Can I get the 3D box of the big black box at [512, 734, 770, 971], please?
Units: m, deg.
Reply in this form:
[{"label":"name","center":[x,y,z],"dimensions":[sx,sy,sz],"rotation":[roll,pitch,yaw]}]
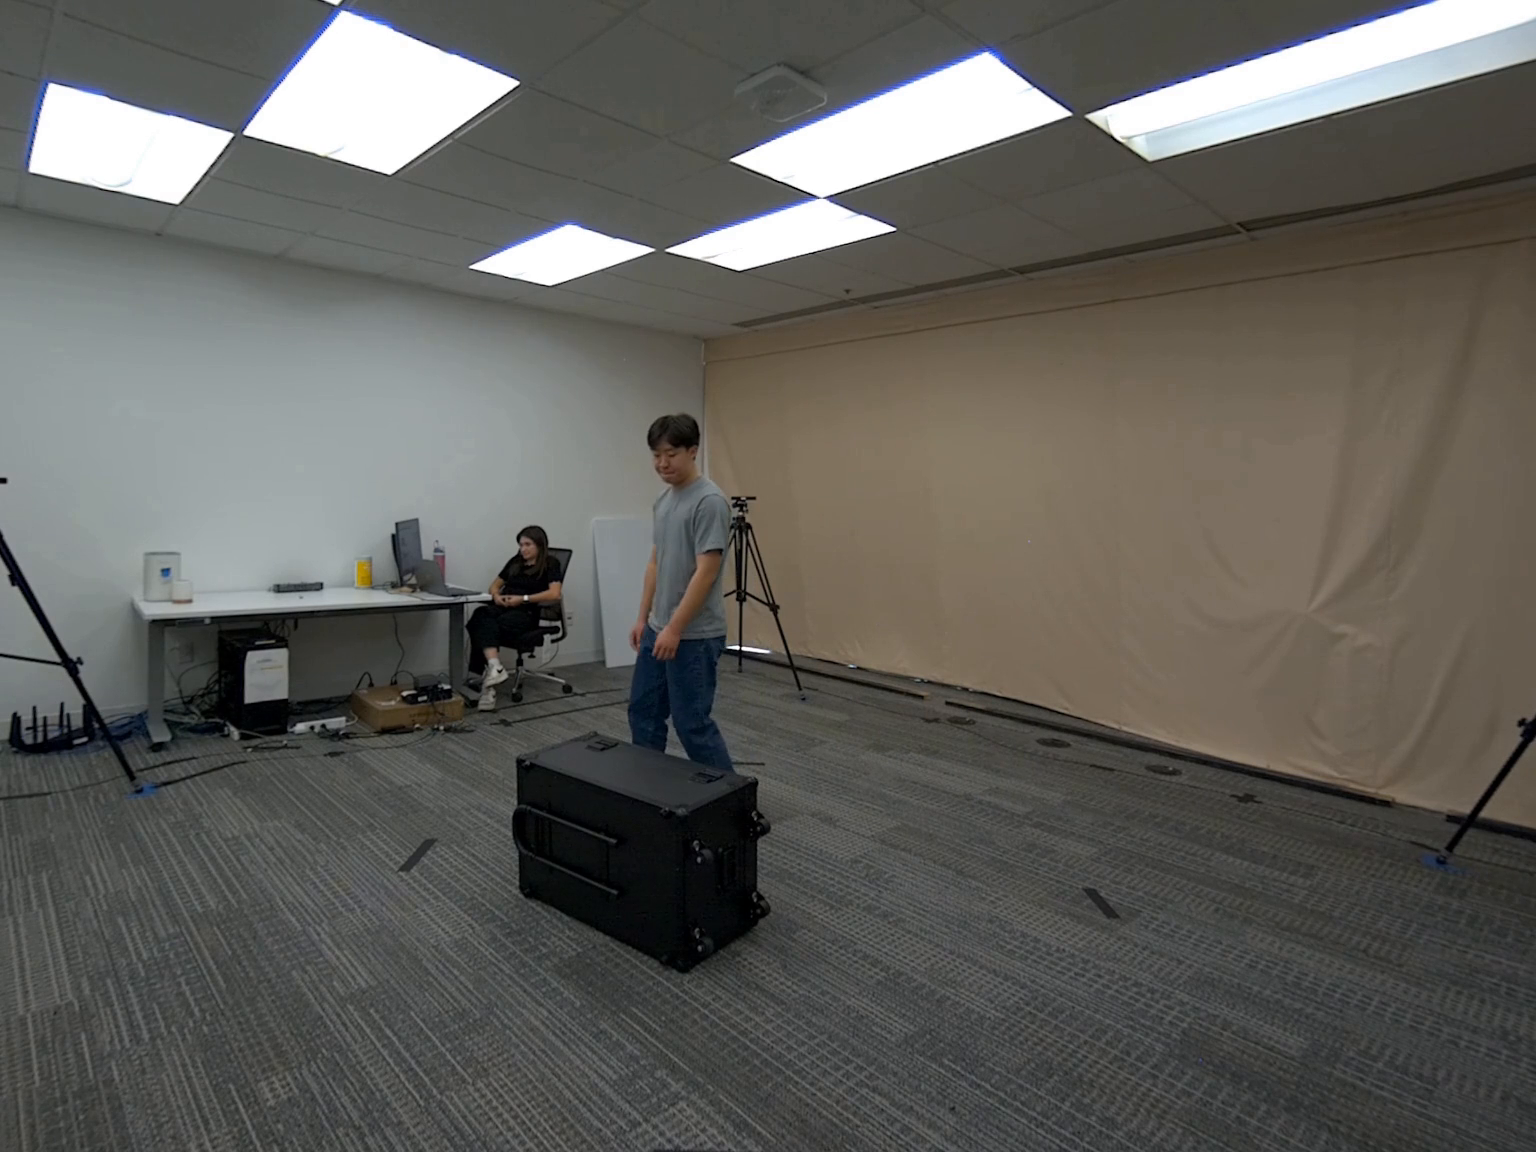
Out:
[{"label":"big black box","center":[-0.435,0.874,2.779],"dimensions":[0.883,0.519,0.388],"rotation":[5,7,38]}]
